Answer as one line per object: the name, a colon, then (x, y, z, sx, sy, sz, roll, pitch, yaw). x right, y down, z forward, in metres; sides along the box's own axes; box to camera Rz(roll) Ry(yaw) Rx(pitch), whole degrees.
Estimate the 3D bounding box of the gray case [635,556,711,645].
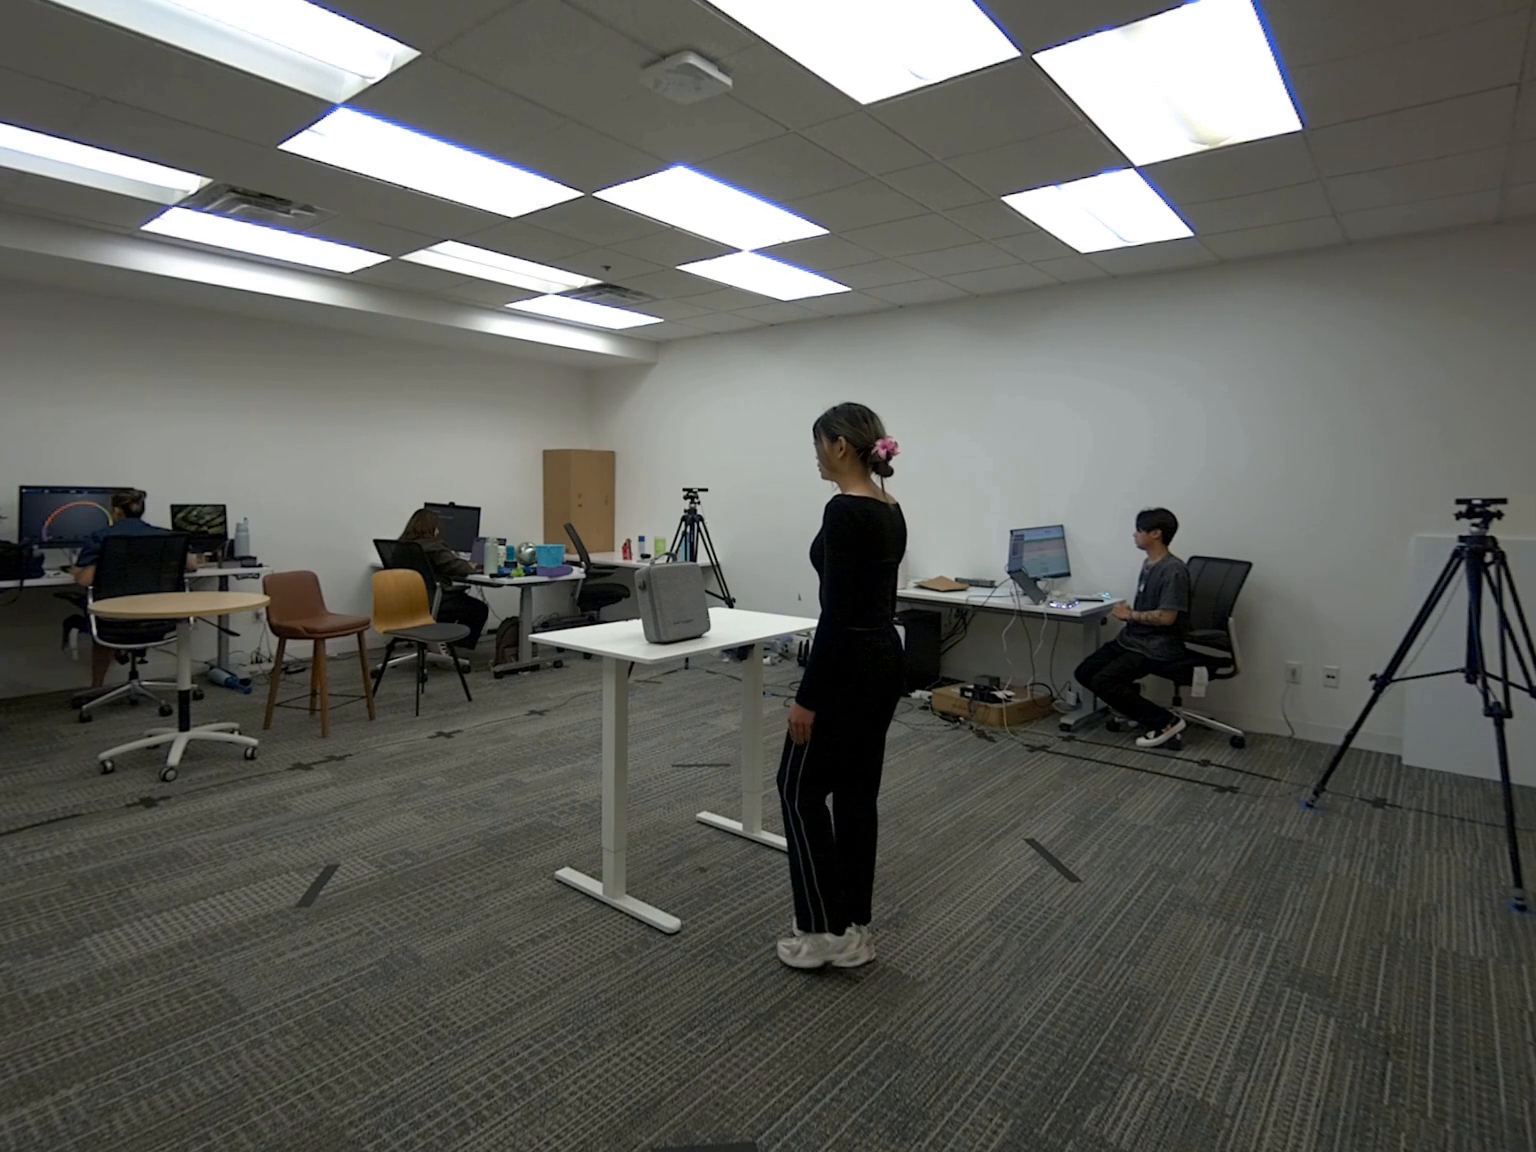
gray case: (-0.326, 0.080, 2.855, 0.107, 0.262, 0.249, -13, -5, 37)
